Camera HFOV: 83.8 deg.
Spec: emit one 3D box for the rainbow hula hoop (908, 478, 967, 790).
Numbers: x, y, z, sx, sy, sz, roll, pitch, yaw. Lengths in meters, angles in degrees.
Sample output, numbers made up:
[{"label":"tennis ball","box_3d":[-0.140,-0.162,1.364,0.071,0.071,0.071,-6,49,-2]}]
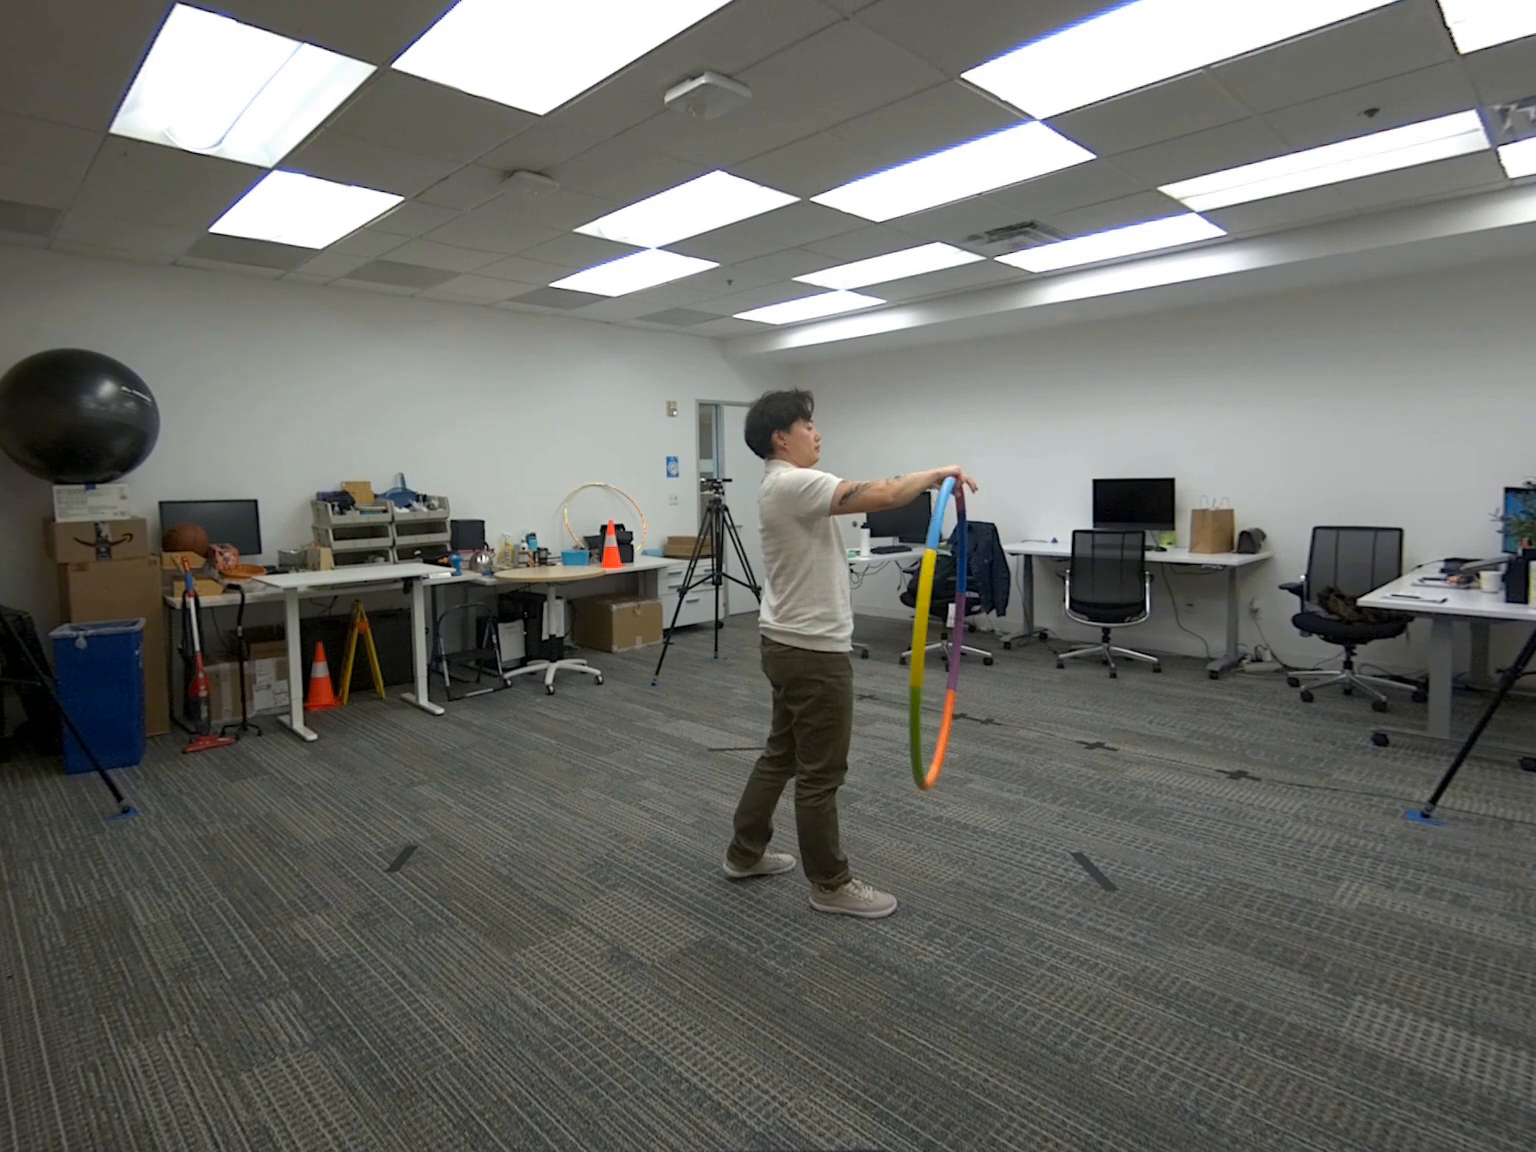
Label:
[{"label":"rainbow hula hoop","box_3d":[0.564,0.181,2.731,0.036,0.974,0.964,5,7,19]}]
